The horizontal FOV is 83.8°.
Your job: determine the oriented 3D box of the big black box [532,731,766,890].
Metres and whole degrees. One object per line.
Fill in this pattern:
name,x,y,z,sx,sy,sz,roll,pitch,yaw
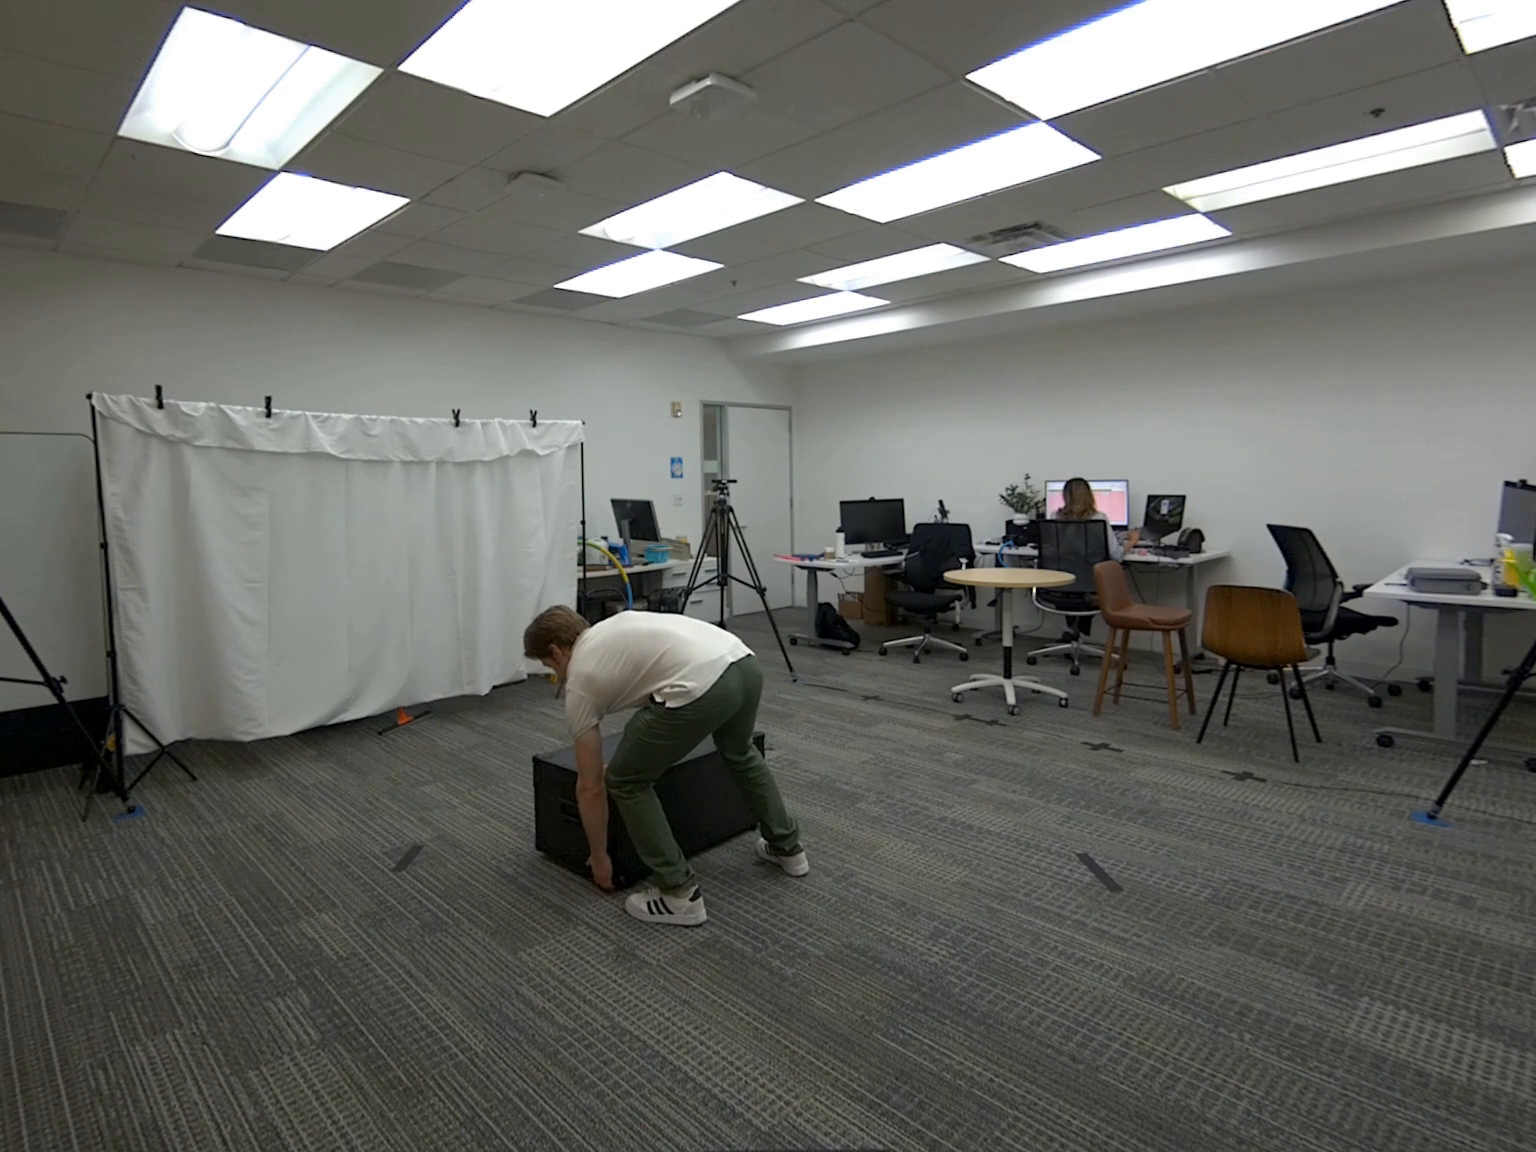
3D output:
big black box,-0.415,0.833,3.349,0.539,0.384,0.846,2,6,42
